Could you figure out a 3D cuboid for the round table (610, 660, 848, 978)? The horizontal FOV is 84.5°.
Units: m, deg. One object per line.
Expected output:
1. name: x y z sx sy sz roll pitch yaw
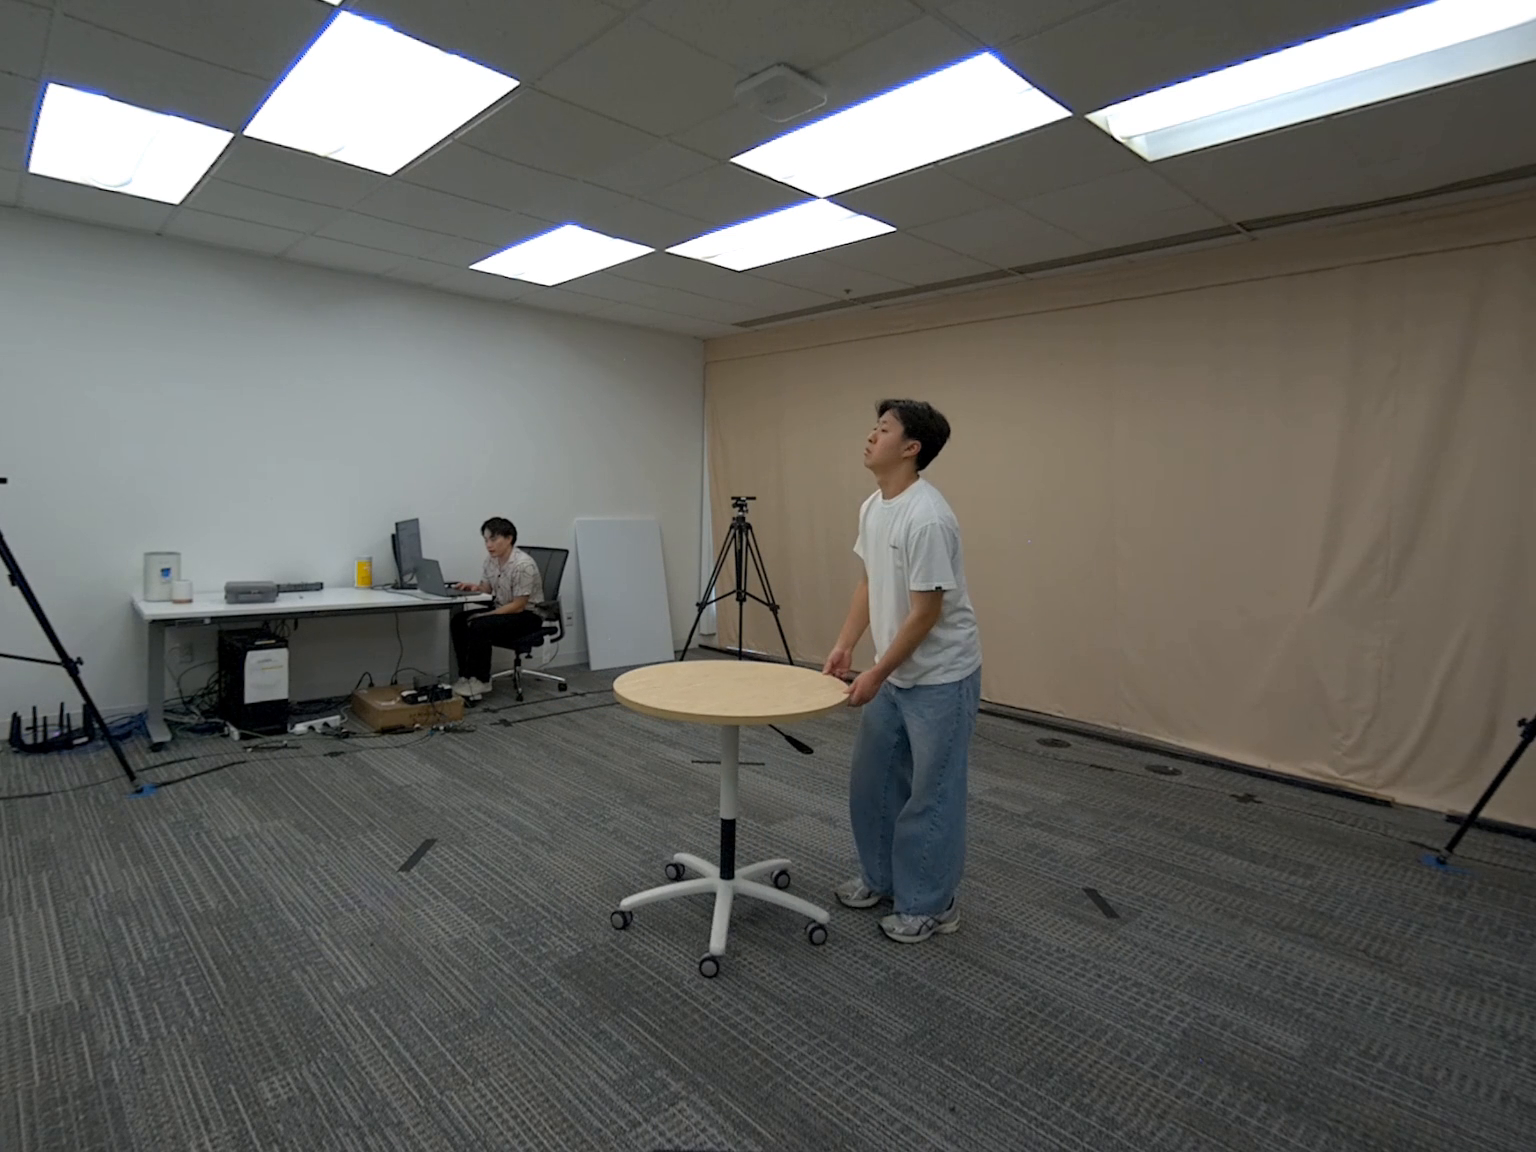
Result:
1. round table: -0.143 0.745 2.761 0.763 0.791 0.767 2 5 -2
